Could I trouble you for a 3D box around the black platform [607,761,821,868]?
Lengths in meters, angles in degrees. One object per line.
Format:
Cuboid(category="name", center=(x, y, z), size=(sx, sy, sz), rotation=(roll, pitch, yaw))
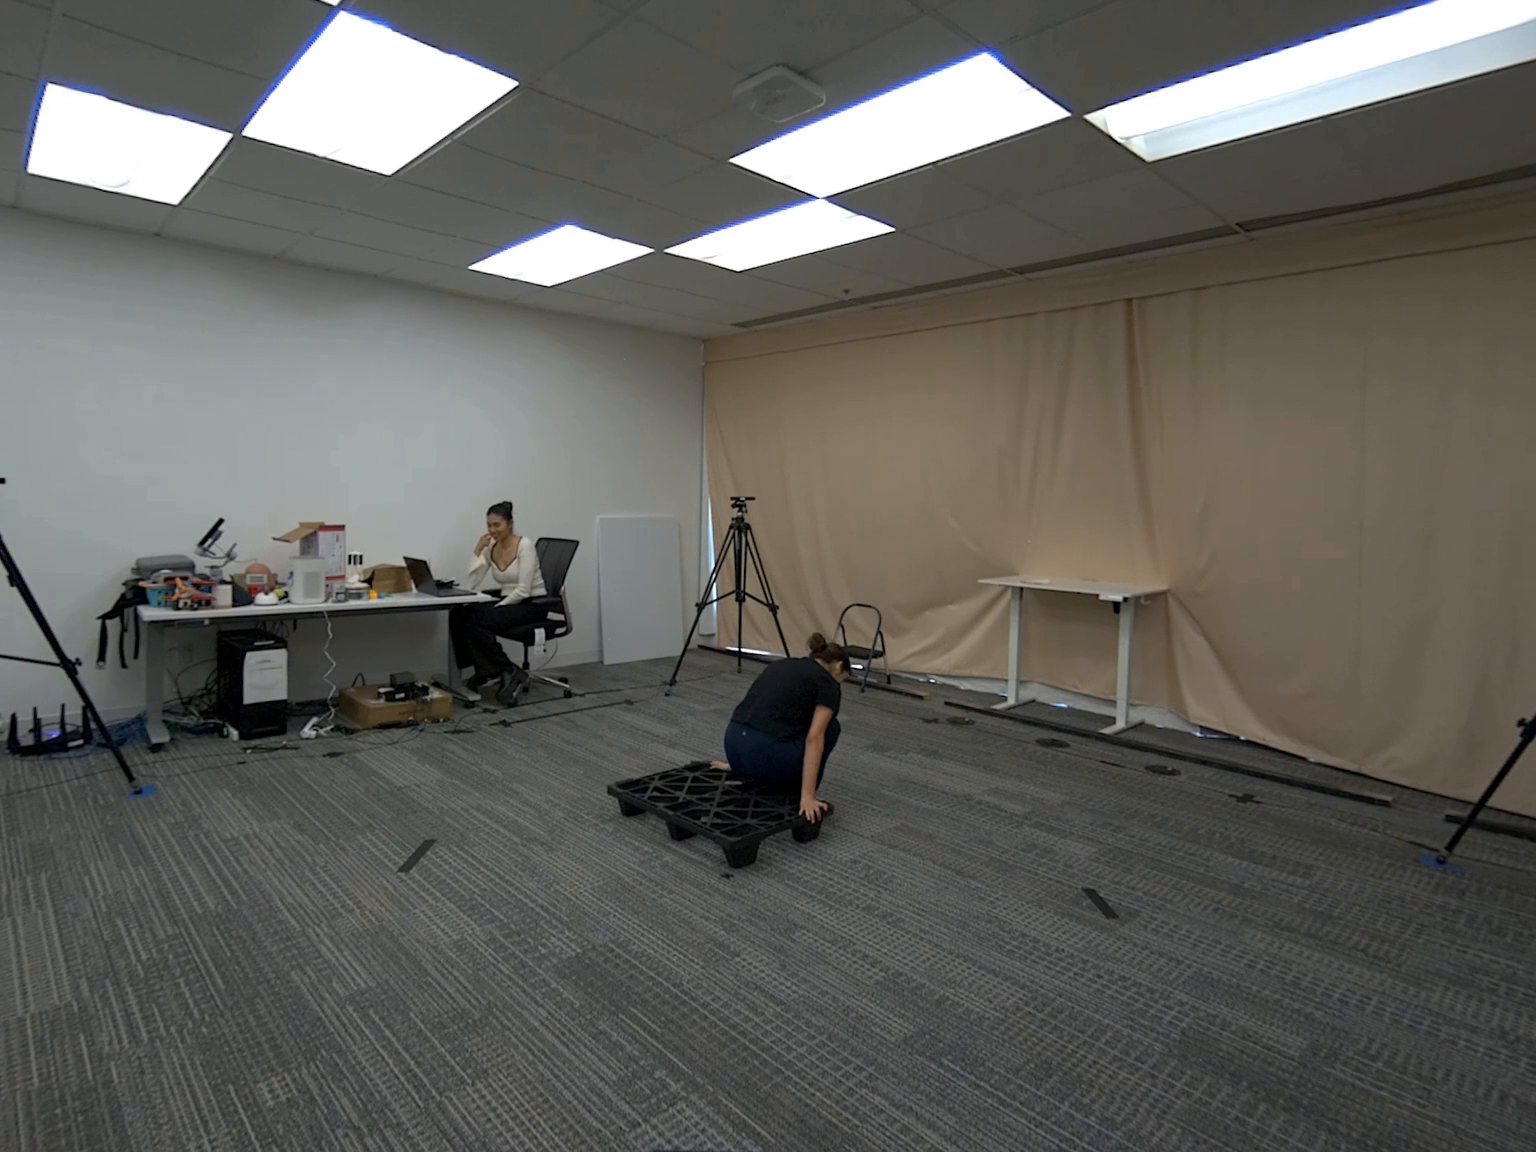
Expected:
Cuboid(category="black platform", center=(-0.224, 0.999, 3.554), size=(0.826, 0.143, 0.591), rotation=(5, 7, 44))
